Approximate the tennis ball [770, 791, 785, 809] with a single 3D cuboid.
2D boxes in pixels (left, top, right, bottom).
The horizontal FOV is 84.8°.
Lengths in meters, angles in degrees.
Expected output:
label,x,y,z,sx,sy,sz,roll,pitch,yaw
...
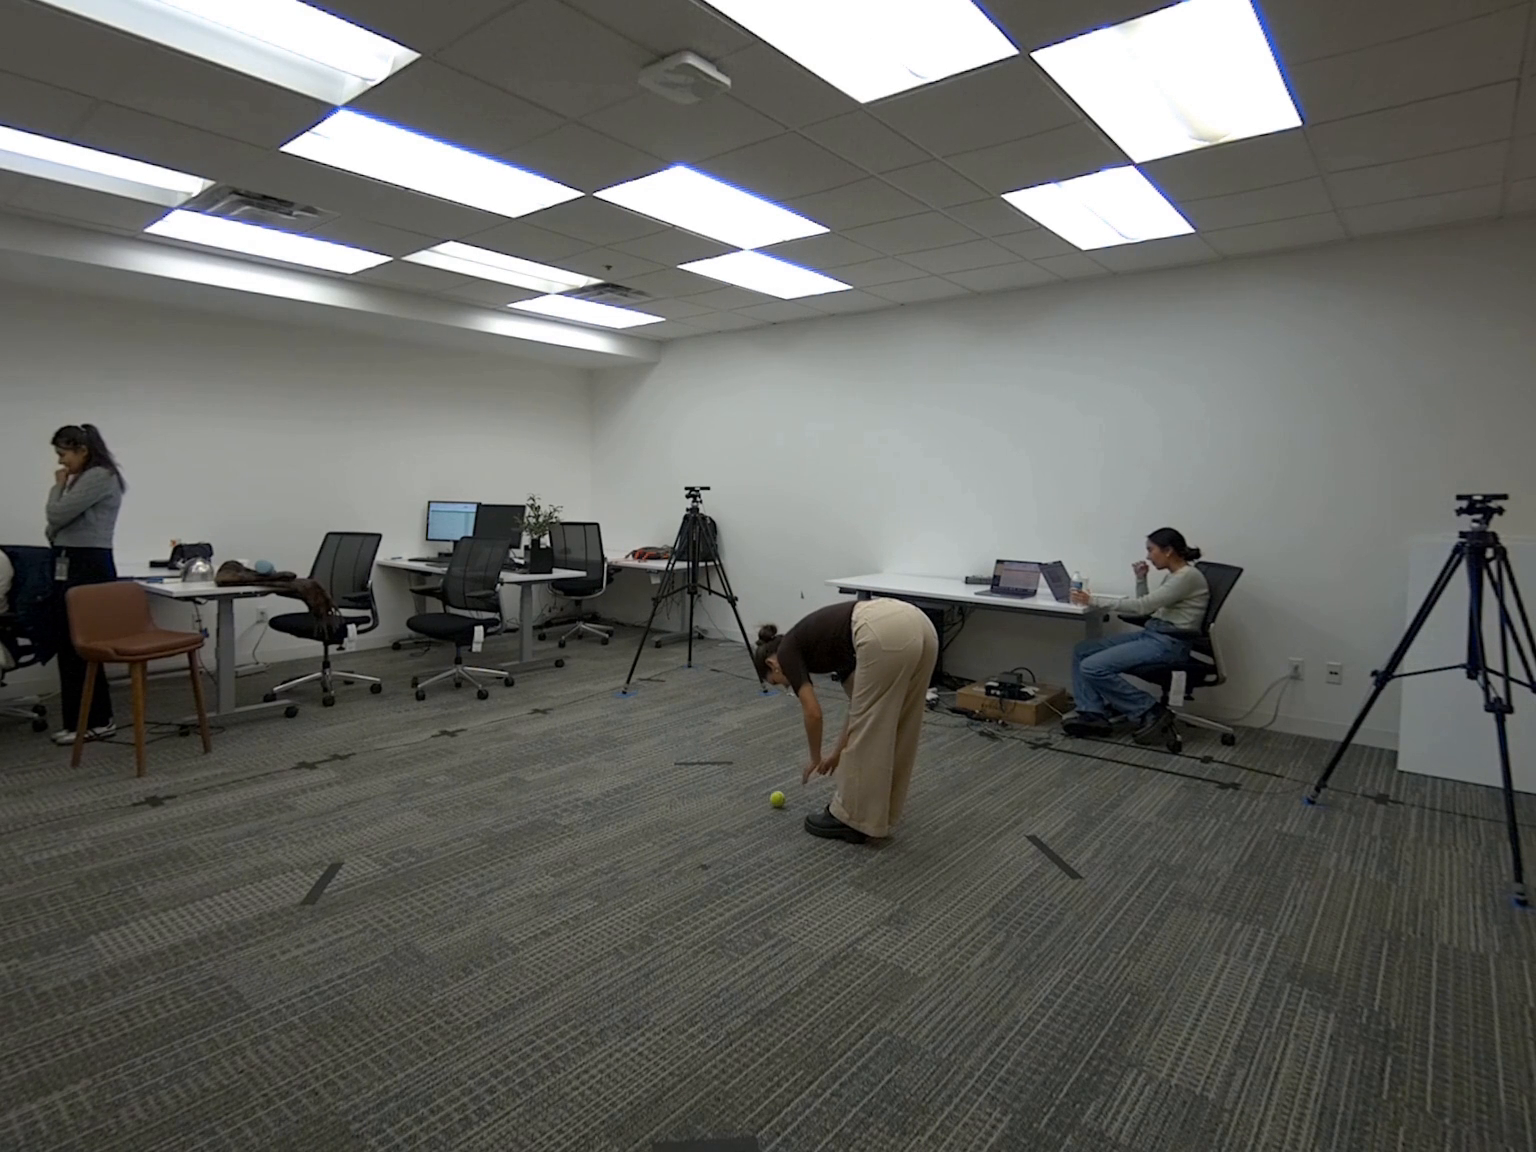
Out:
label,x,y,z,sx,sy,sz,roll,pitch,yaw
tennis ball,0.033,0.971,3.720,0.066,0.066,0.067,1,4,-2
